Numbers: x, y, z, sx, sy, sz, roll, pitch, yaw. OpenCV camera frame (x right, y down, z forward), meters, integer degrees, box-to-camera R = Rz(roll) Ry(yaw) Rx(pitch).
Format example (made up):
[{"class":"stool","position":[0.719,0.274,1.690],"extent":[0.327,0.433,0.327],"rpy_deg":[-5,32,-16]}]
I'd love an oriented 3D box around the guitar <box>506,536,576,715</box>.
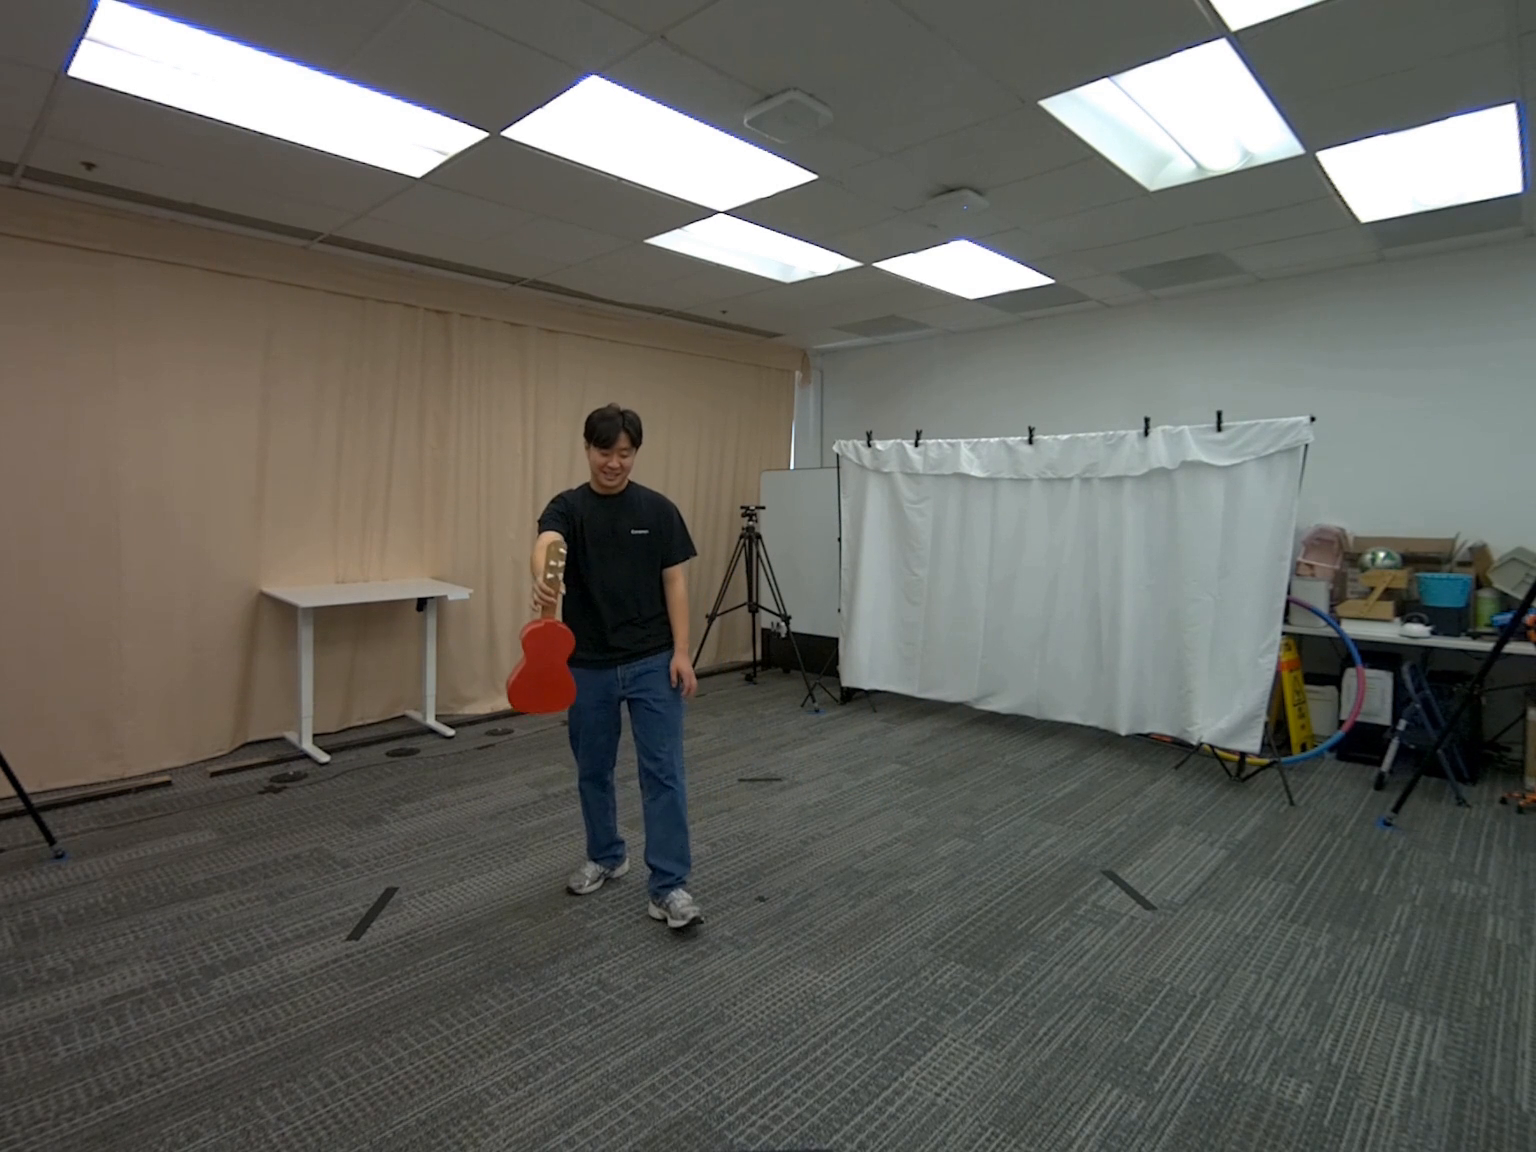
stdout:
[{"class":"guitar","position":[-0.660,0.153,2.391],"extent":[0.189,0.494,0.072],"rpy_deg":[-2,14,-19]}]
